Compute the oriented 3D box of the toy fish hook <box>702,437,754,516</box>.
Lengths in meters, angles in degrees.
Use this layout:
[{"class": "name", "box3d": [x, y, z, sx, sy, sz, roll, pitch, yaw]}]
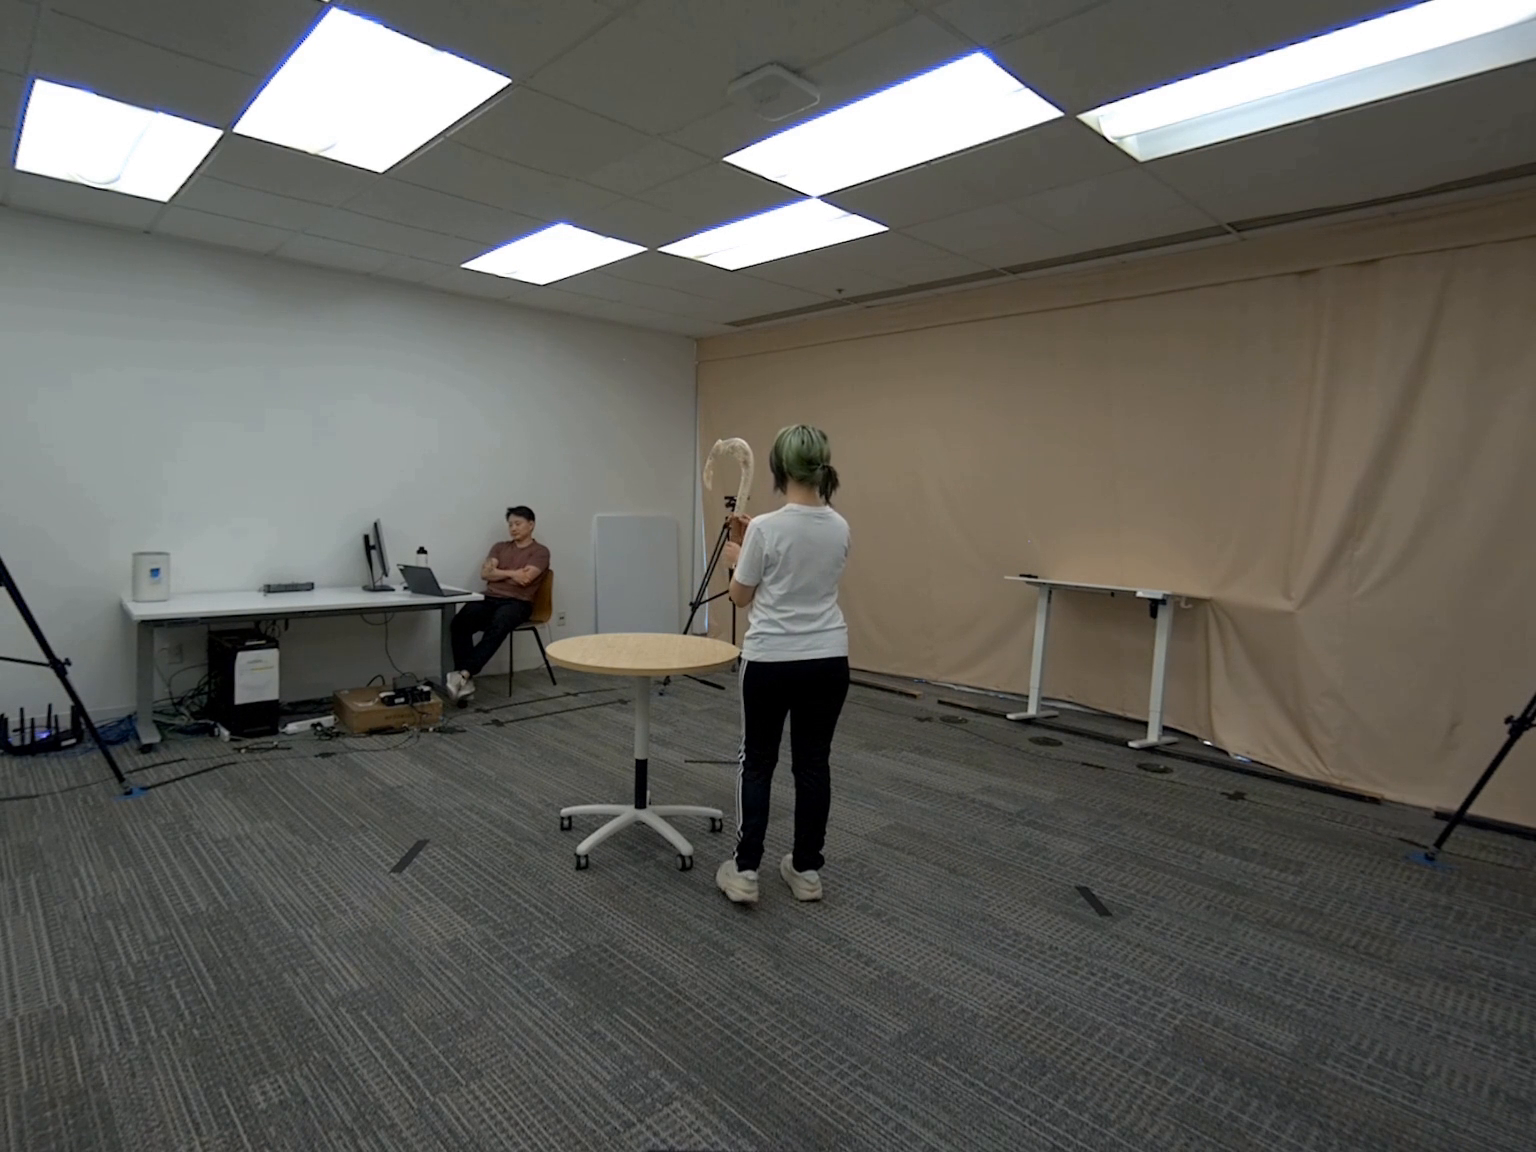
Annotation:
[{"class": "toy fish hook", "box3d": [-0.154, -0.273, 3.233, 0.229, 0.508, 0.047, -2, -5, 33]}]
